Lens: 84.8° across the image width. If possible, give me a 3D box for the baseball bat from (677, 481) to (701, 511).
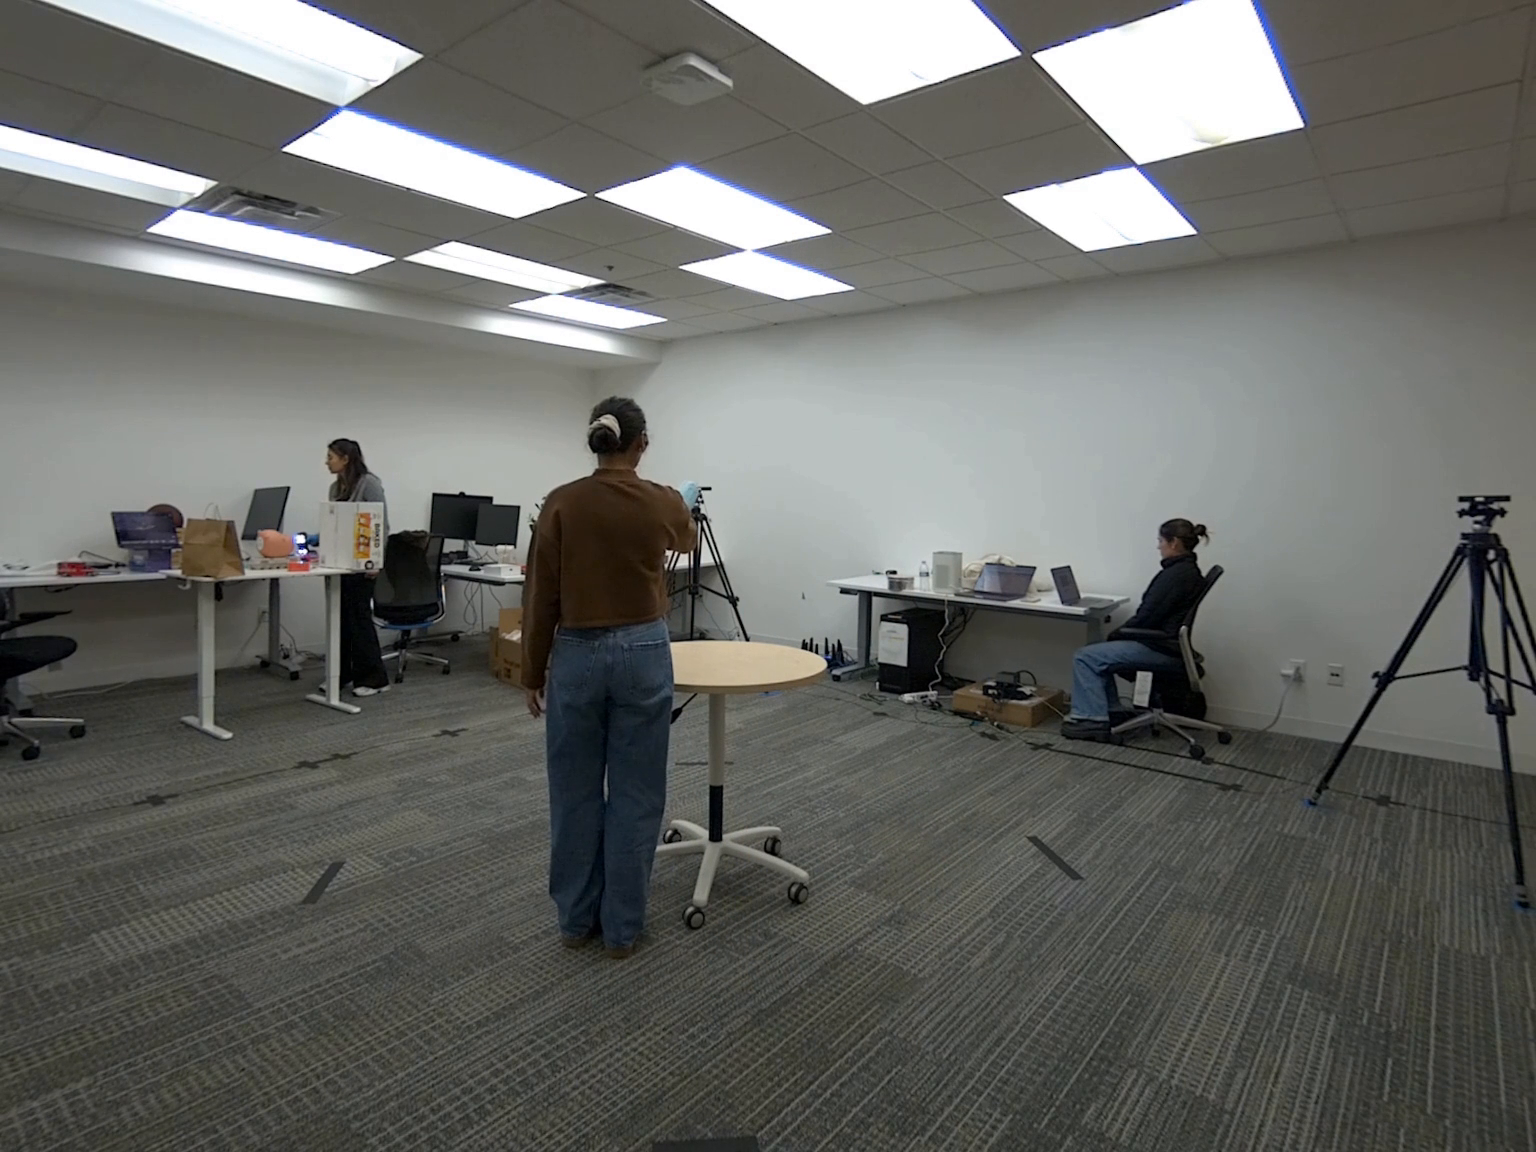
[{"bbox_3d":[-0.379,-0.170,3.119,0.091,0.086,0.550,1,38,16],"label":"baseball bat"}]
